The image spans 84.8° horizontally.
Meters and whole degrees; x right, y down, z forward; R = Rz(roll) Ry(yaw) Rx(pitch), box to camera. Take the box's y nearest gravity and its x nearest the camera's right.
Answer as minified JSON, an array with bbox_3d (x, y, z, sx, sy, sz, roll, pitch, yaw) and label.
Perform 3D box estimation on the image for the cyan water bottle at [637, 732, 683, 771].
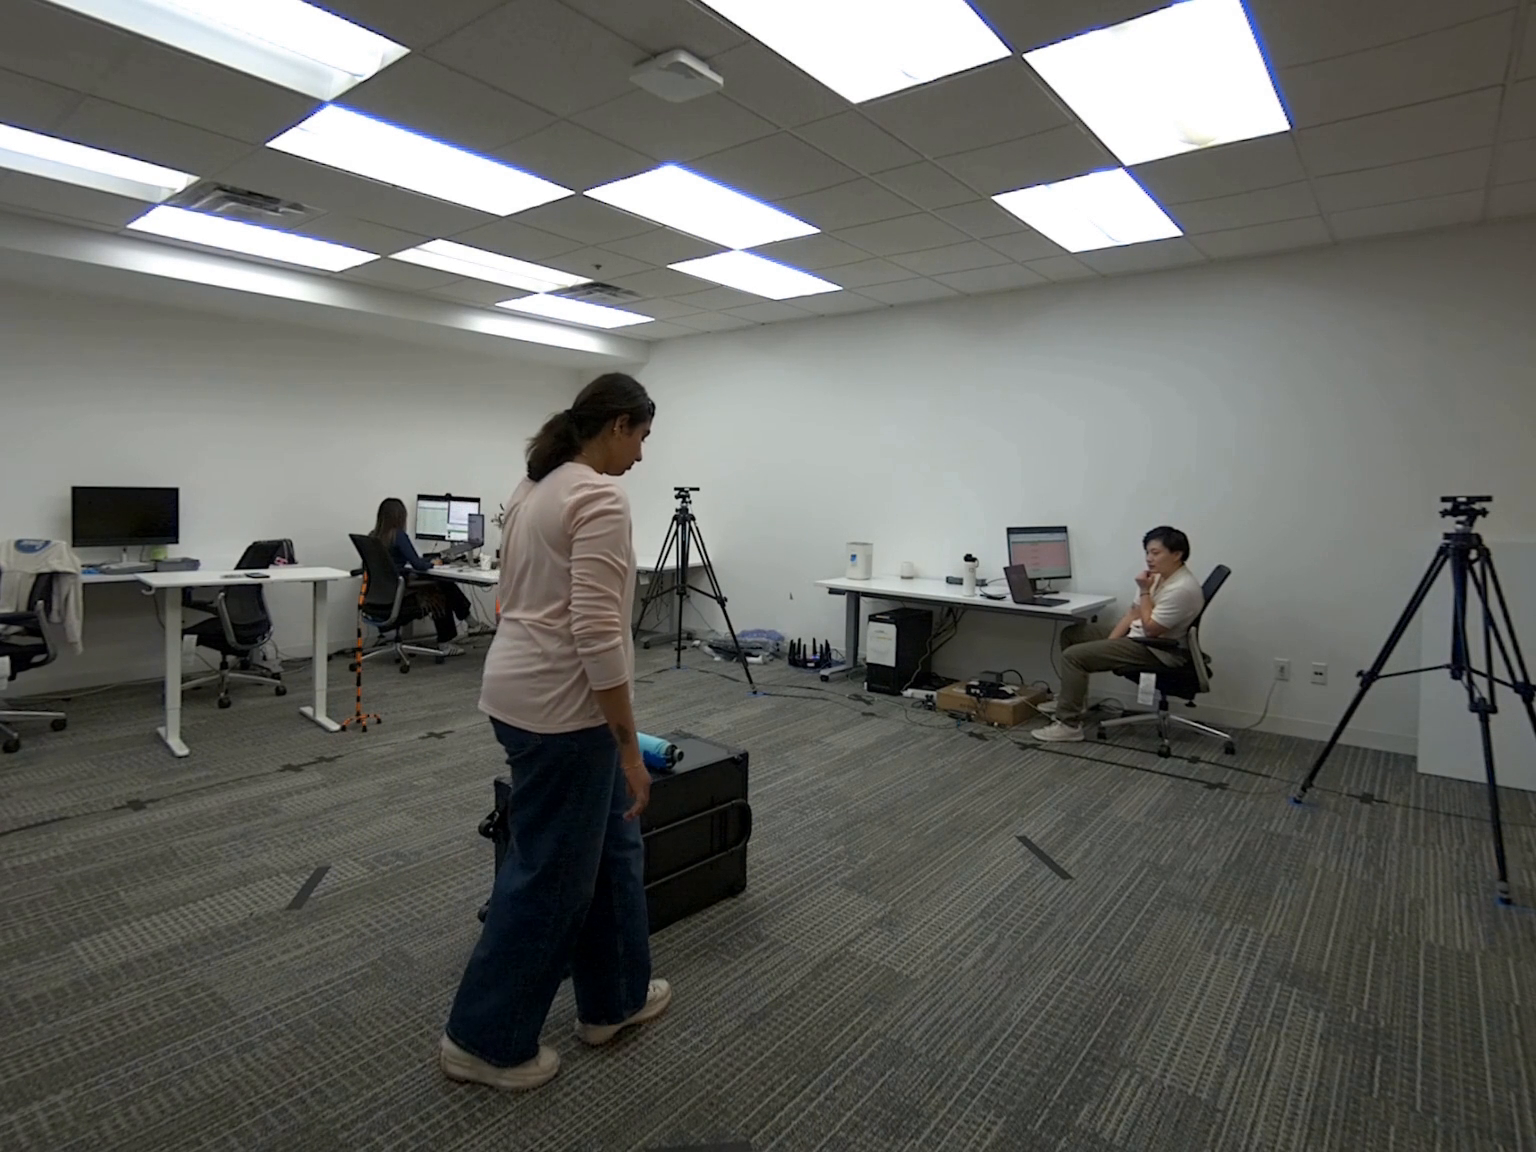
[{"bbox_3d":[-0.411,0.561,2.801,0.293,0.092,0.089,7,7,38],"label":"cyan water bottle"}]
